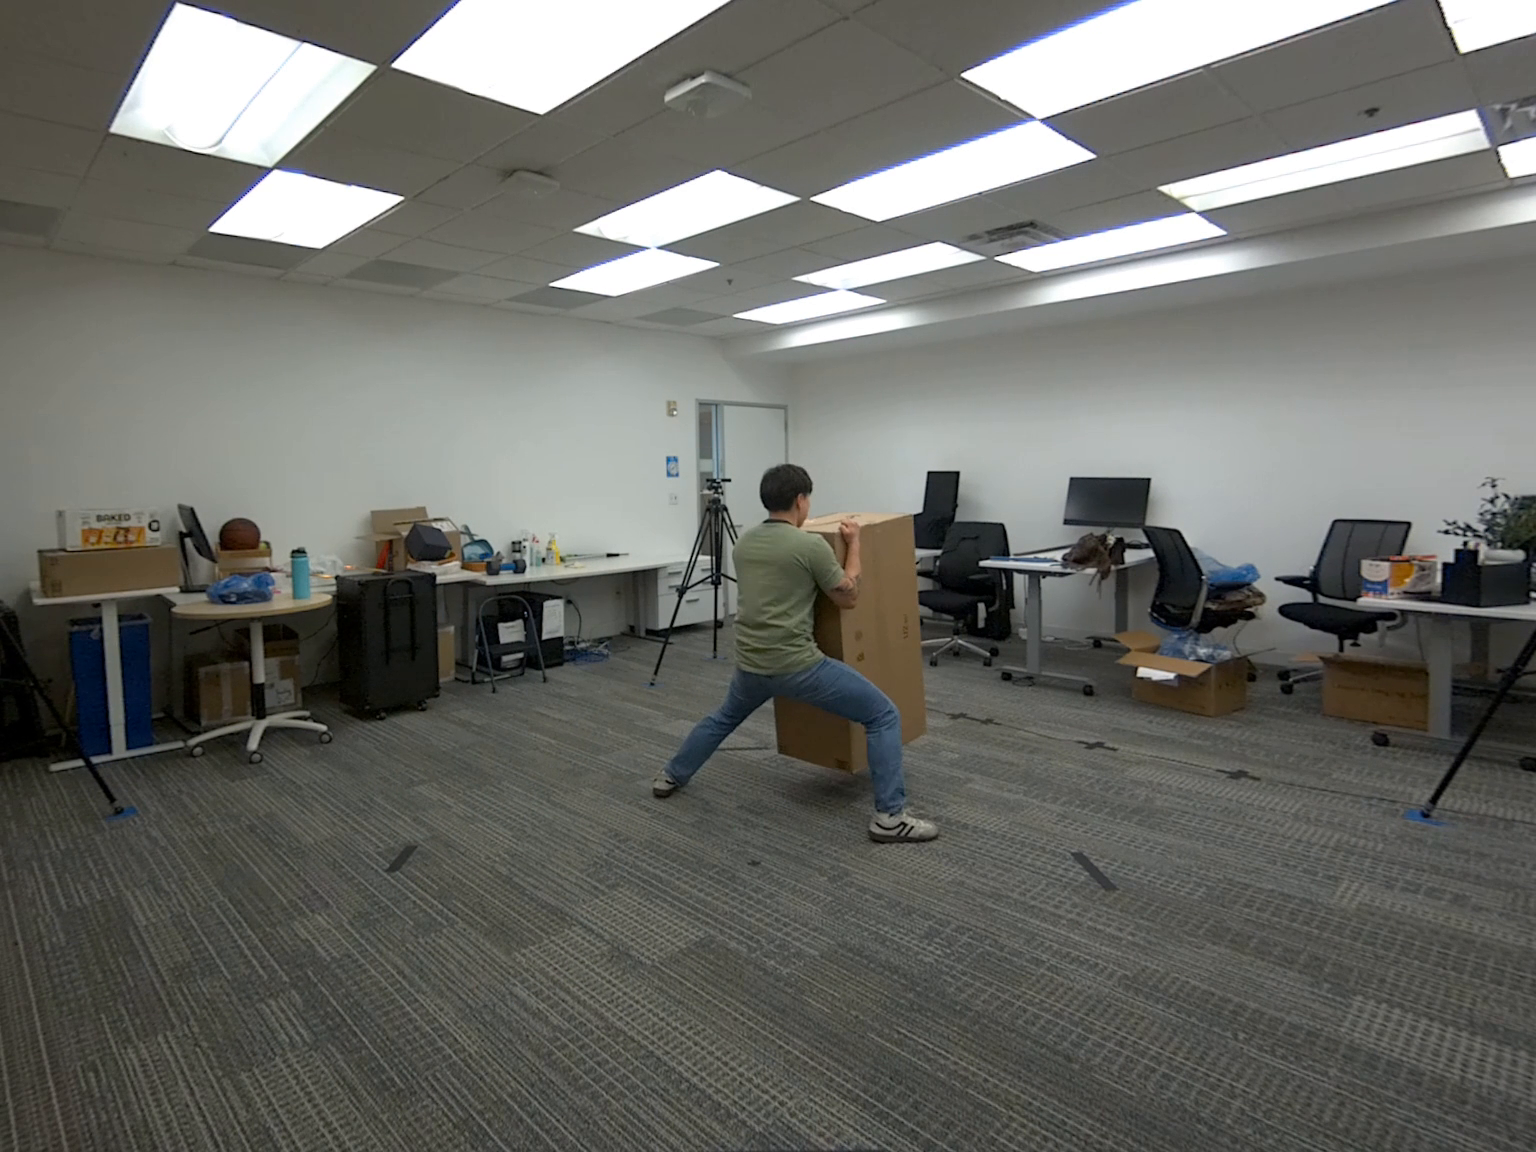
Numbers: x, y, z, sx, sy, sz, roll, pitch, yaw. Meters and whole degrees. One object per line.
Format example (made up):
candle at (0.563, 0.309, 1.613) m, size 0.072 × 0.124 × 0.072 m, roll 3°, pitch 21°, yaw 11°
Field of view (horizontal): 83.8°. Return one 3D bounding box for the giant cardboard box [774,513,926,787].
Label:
giant cardboard box at (0.347, 0.268, 3.838) m, size 0.439 × 1.019 × 0.564 m, roll 2°, pitch 10°, yaw 44°
